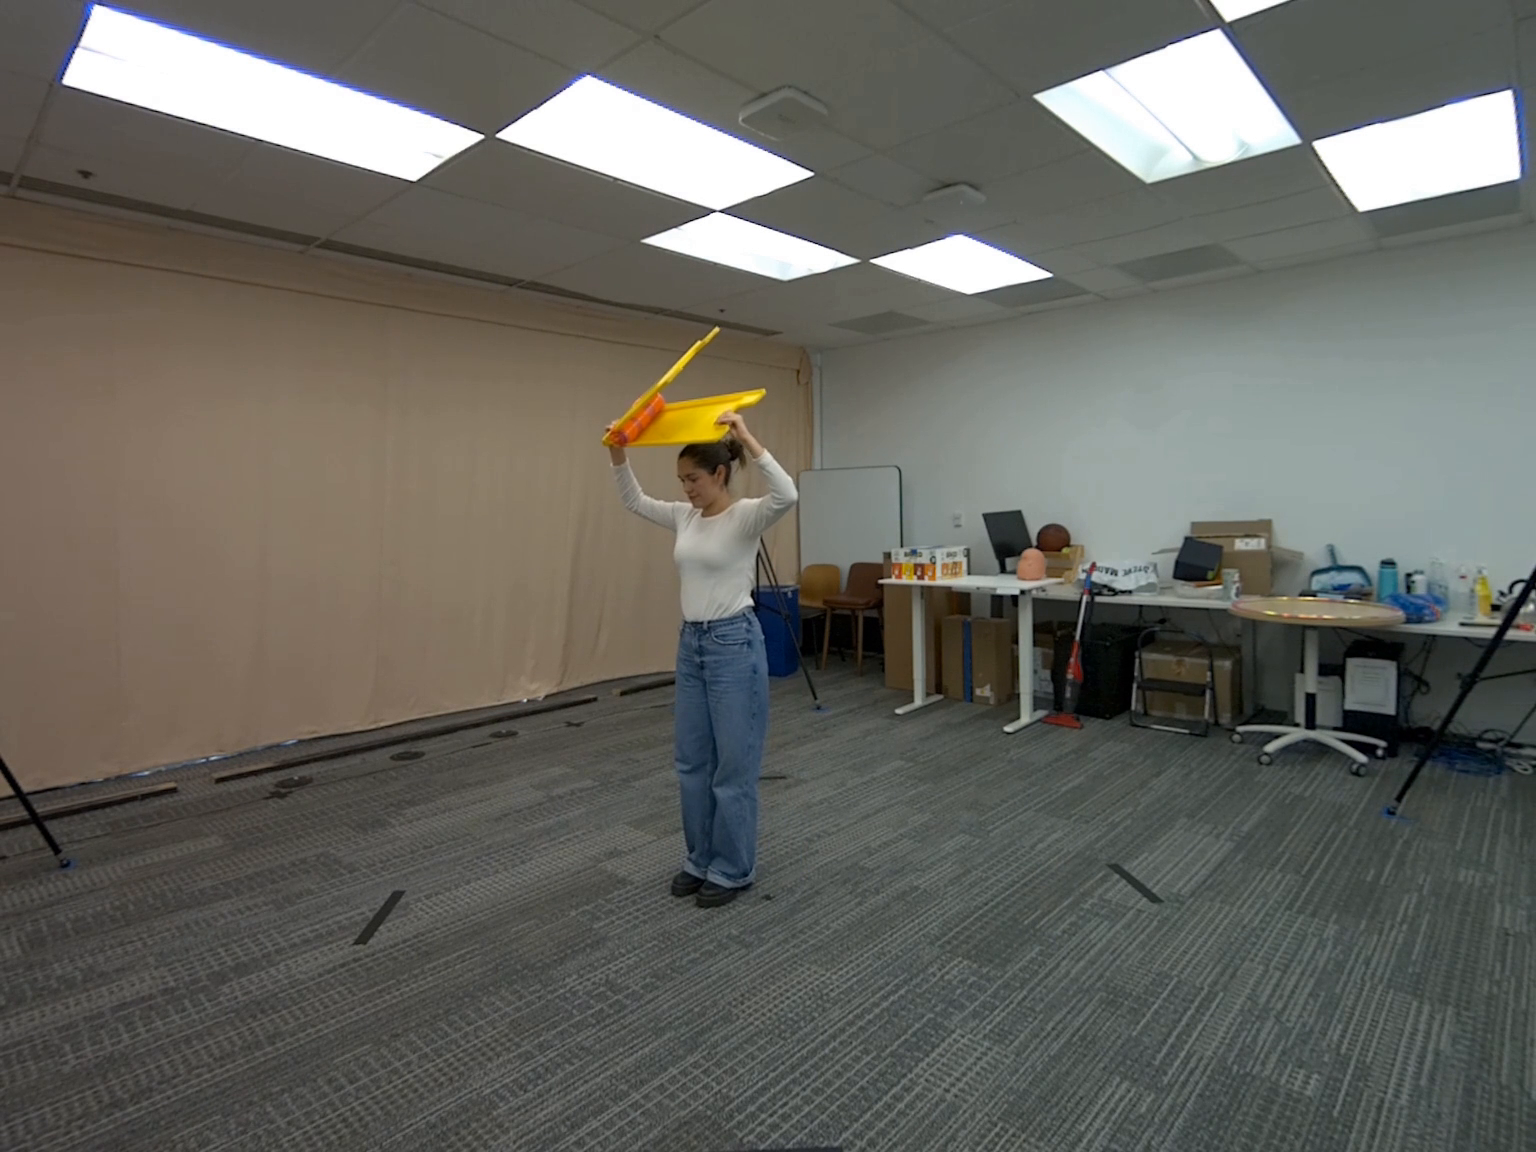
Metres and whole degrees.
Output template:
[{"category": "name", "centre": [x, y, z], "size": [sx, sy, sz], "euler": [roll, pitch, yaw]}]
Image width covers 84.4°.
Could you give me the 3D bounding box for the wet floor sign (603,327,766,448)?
[{"category": "wet floor sign", "centre": [-0.352, -0.567, 2.850], "size": [0.664, 0.283, 0.281], "euler": [-7, 39, 51]}]
